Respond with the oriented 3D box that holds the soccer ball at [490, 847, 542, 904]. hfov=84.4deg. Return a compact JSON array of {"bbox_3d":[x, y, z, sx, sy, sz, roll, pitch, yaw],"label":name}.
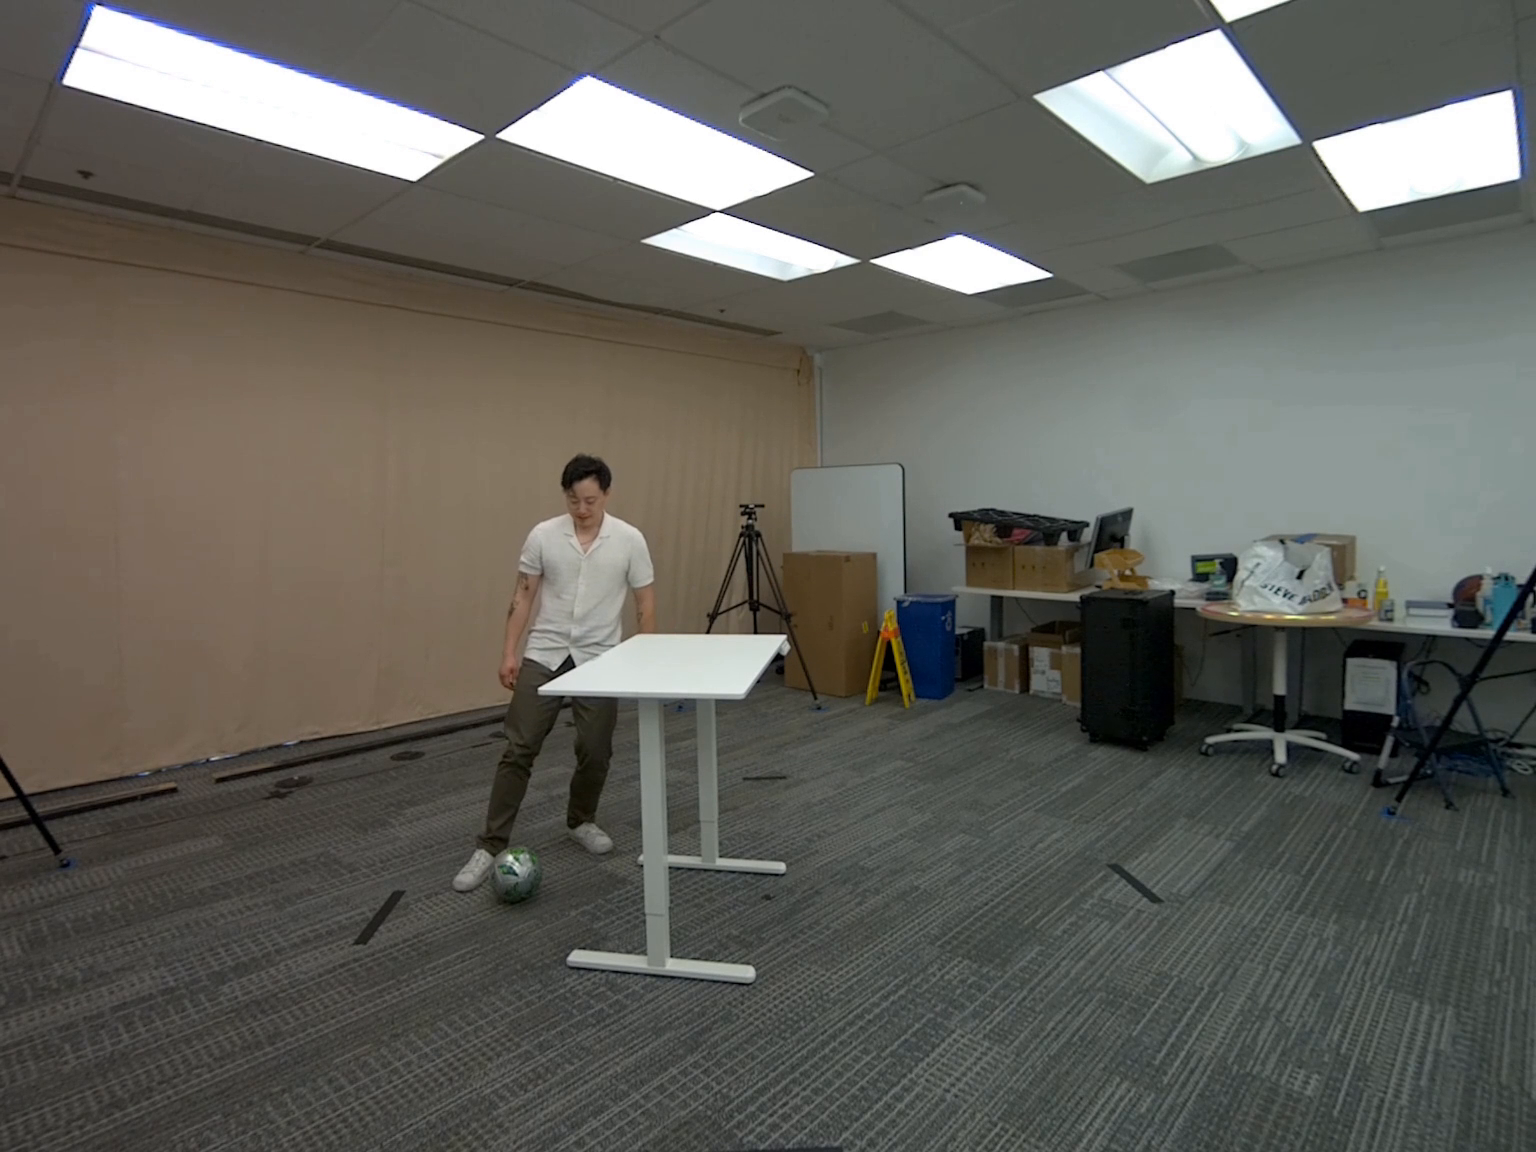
[{"bbox_3d":[-0.904,1.064,3.014,0.187,0.187,0.188,-1,4,-2],"label":"soccer ball"}]
